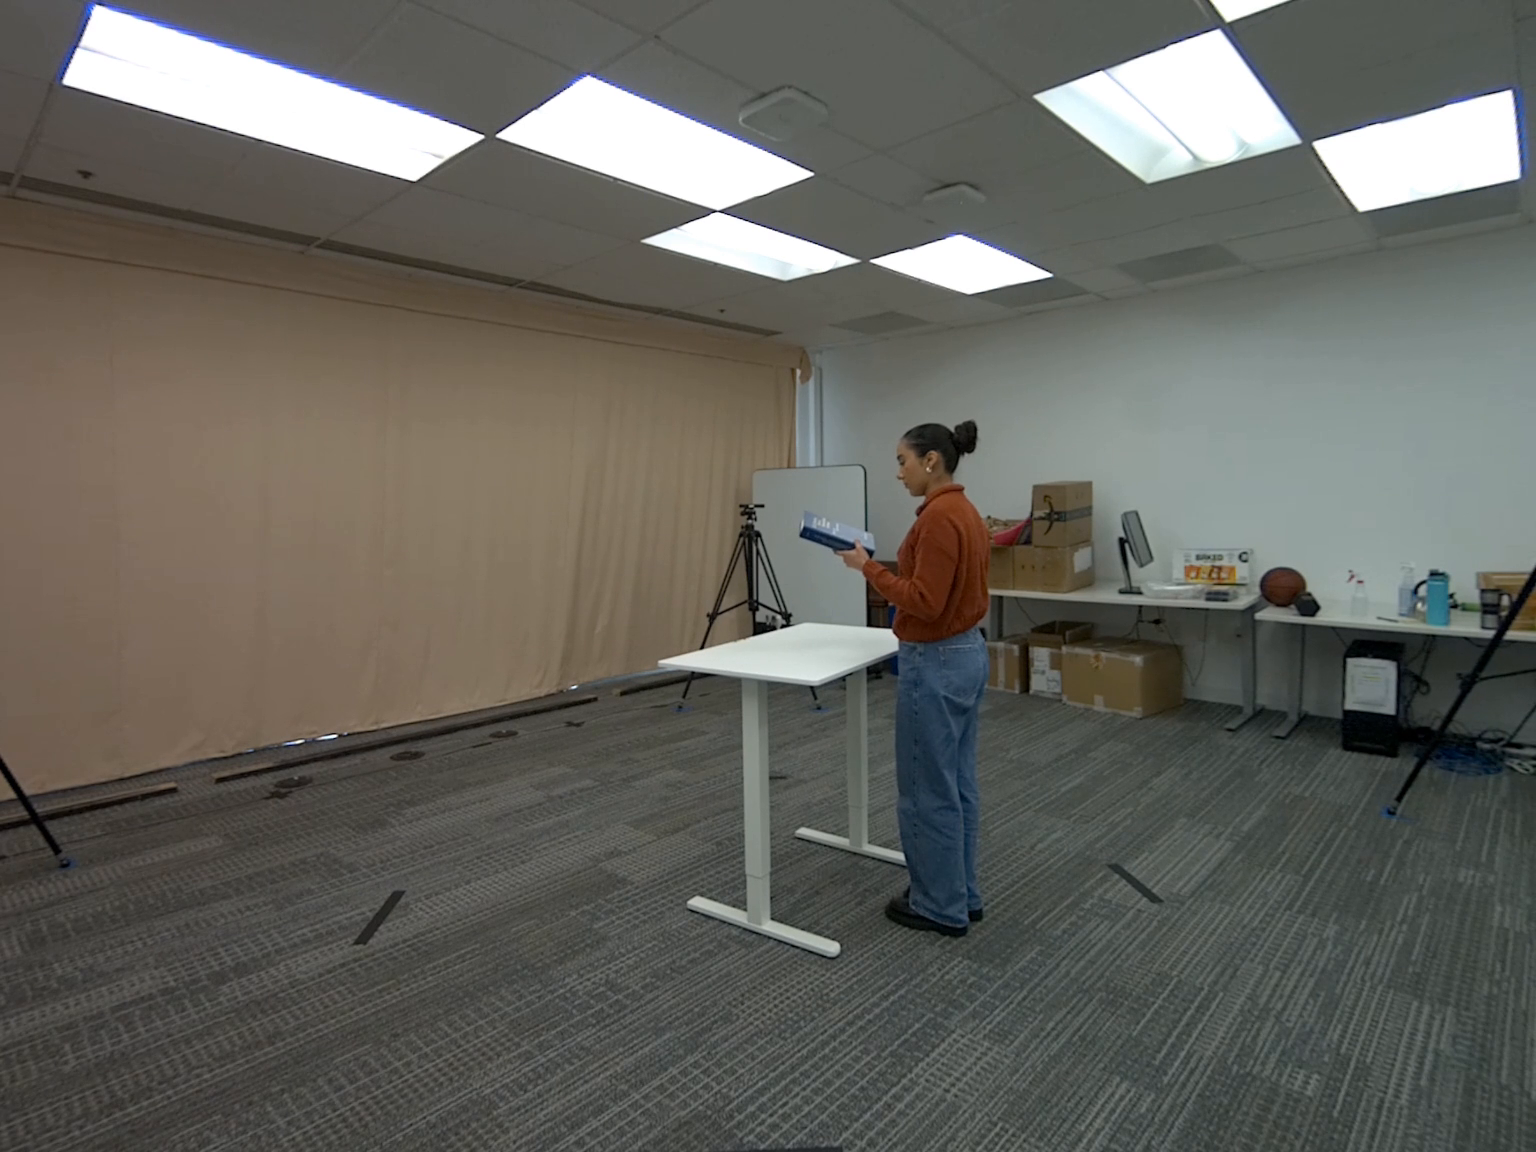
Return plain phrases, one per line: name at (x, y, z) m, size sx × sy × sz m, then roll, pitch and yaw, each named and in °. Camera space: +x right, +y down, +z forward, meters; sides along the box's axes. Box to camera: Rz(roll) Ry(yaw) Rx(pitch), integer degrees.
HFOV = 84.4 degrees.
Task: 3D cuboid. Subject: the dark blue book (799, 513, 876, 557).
dark blue book at (0.232, -0.129, 2.771) m, size 0.246 × 0.045 × 0.164 m, roll 16°, pitch 22°, yaw 2°
